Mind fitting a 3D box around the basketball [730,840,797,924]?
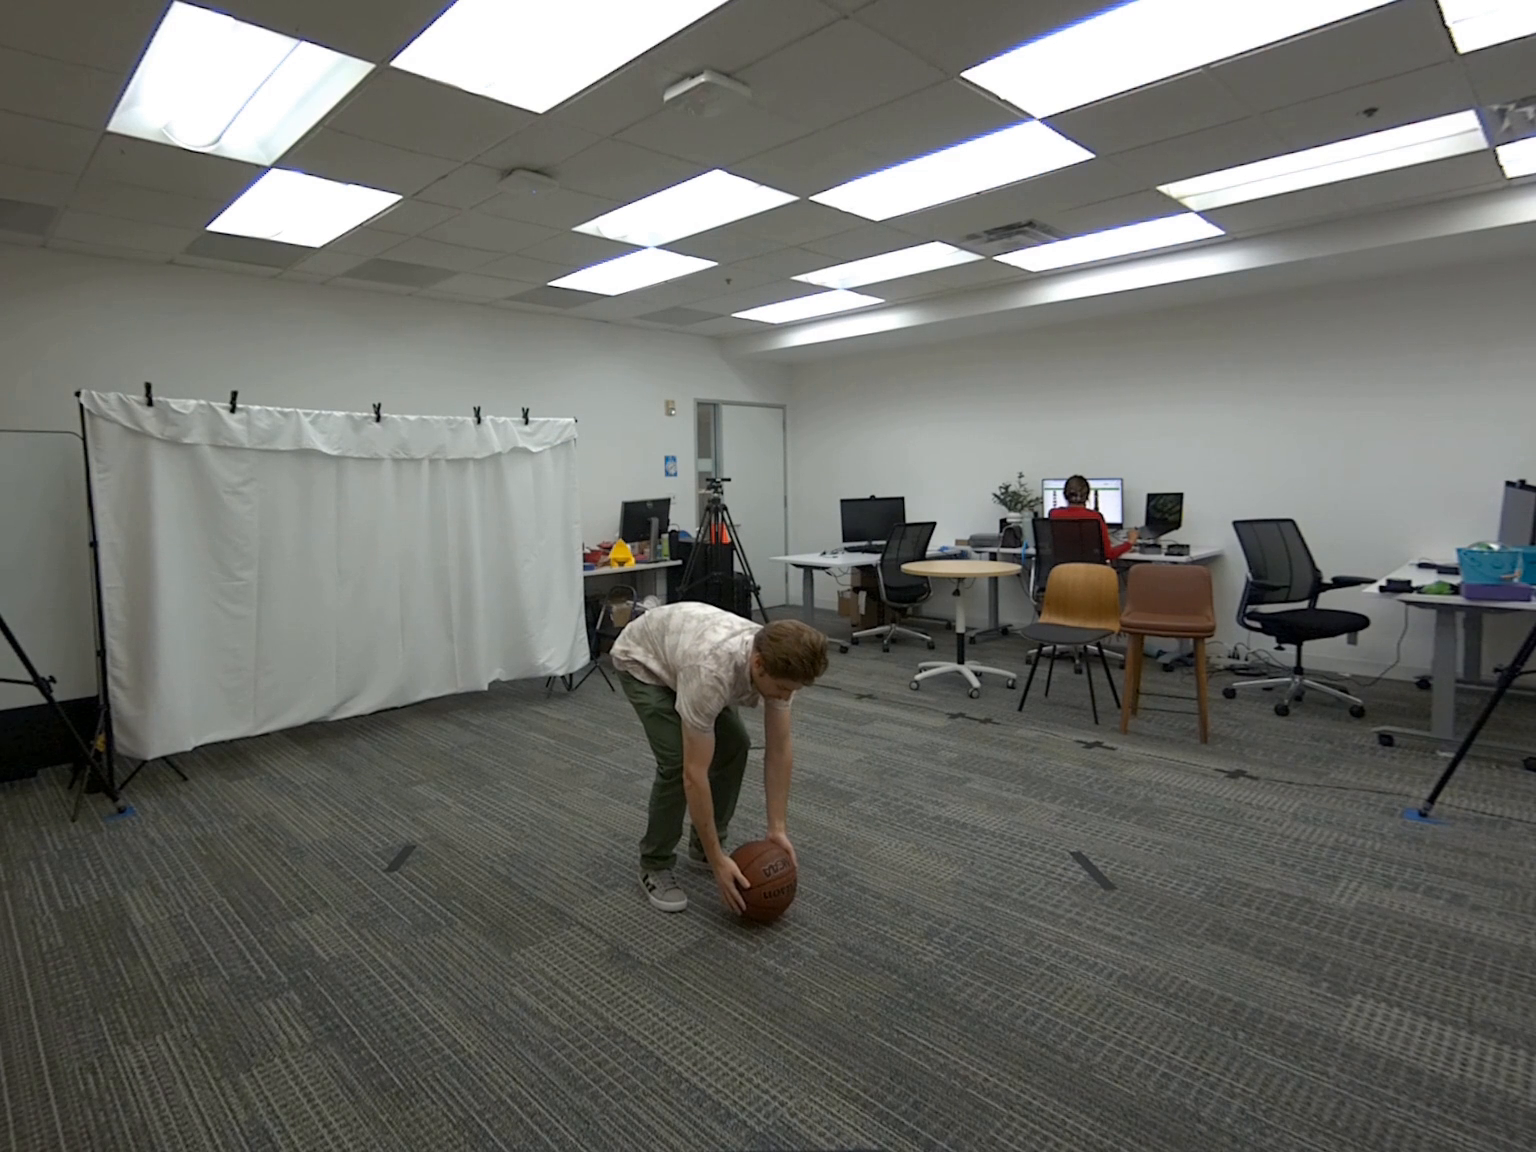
[{"bbox_3d":[-0.030,0.958,2.721,0.236,0.235,0.237,-1,5,-2],"label":"basketball"}]
